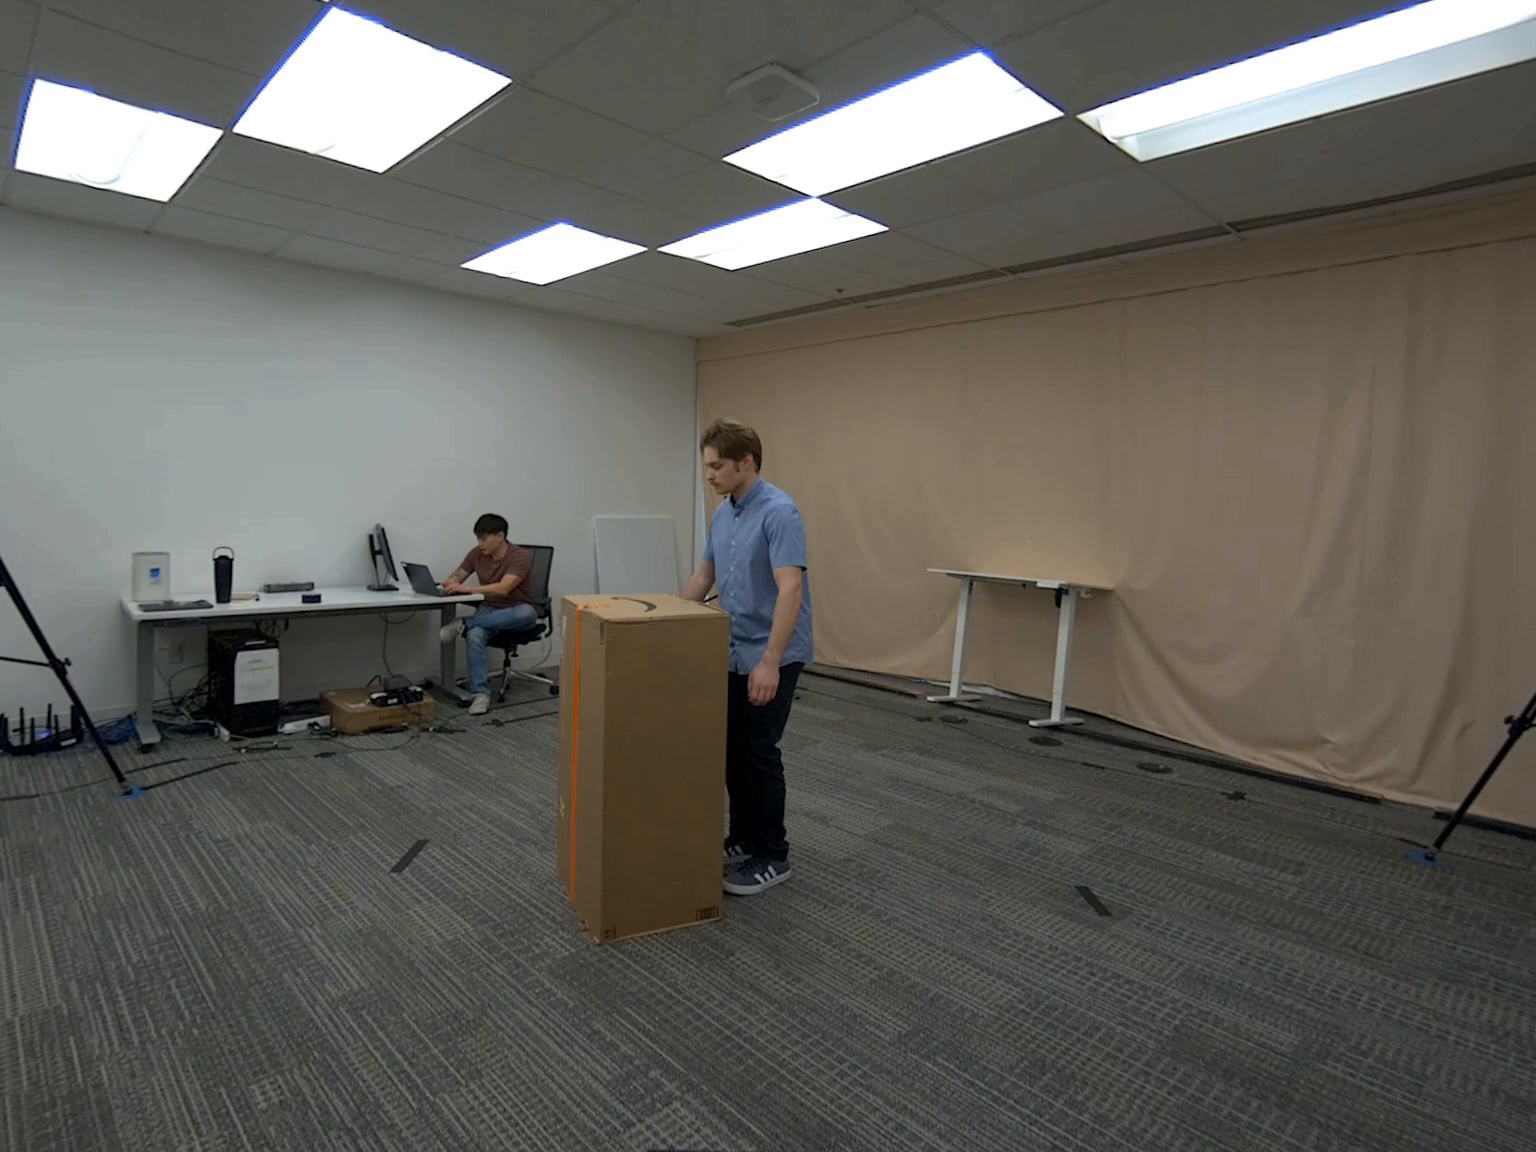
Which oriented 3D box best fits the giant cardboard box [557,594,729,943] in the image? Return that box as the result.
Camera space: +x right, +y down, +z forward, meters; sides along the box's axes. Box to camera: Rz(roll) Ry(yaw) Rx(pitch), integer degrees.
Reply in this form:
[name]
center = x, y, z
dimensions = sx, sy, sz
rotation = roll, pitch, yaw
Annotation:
[giant cardboard box]
center = -0.459, 0.605, 2.903
dimensions = 0.418, 1.023, 0.590
rotation = 0, 4, -27
